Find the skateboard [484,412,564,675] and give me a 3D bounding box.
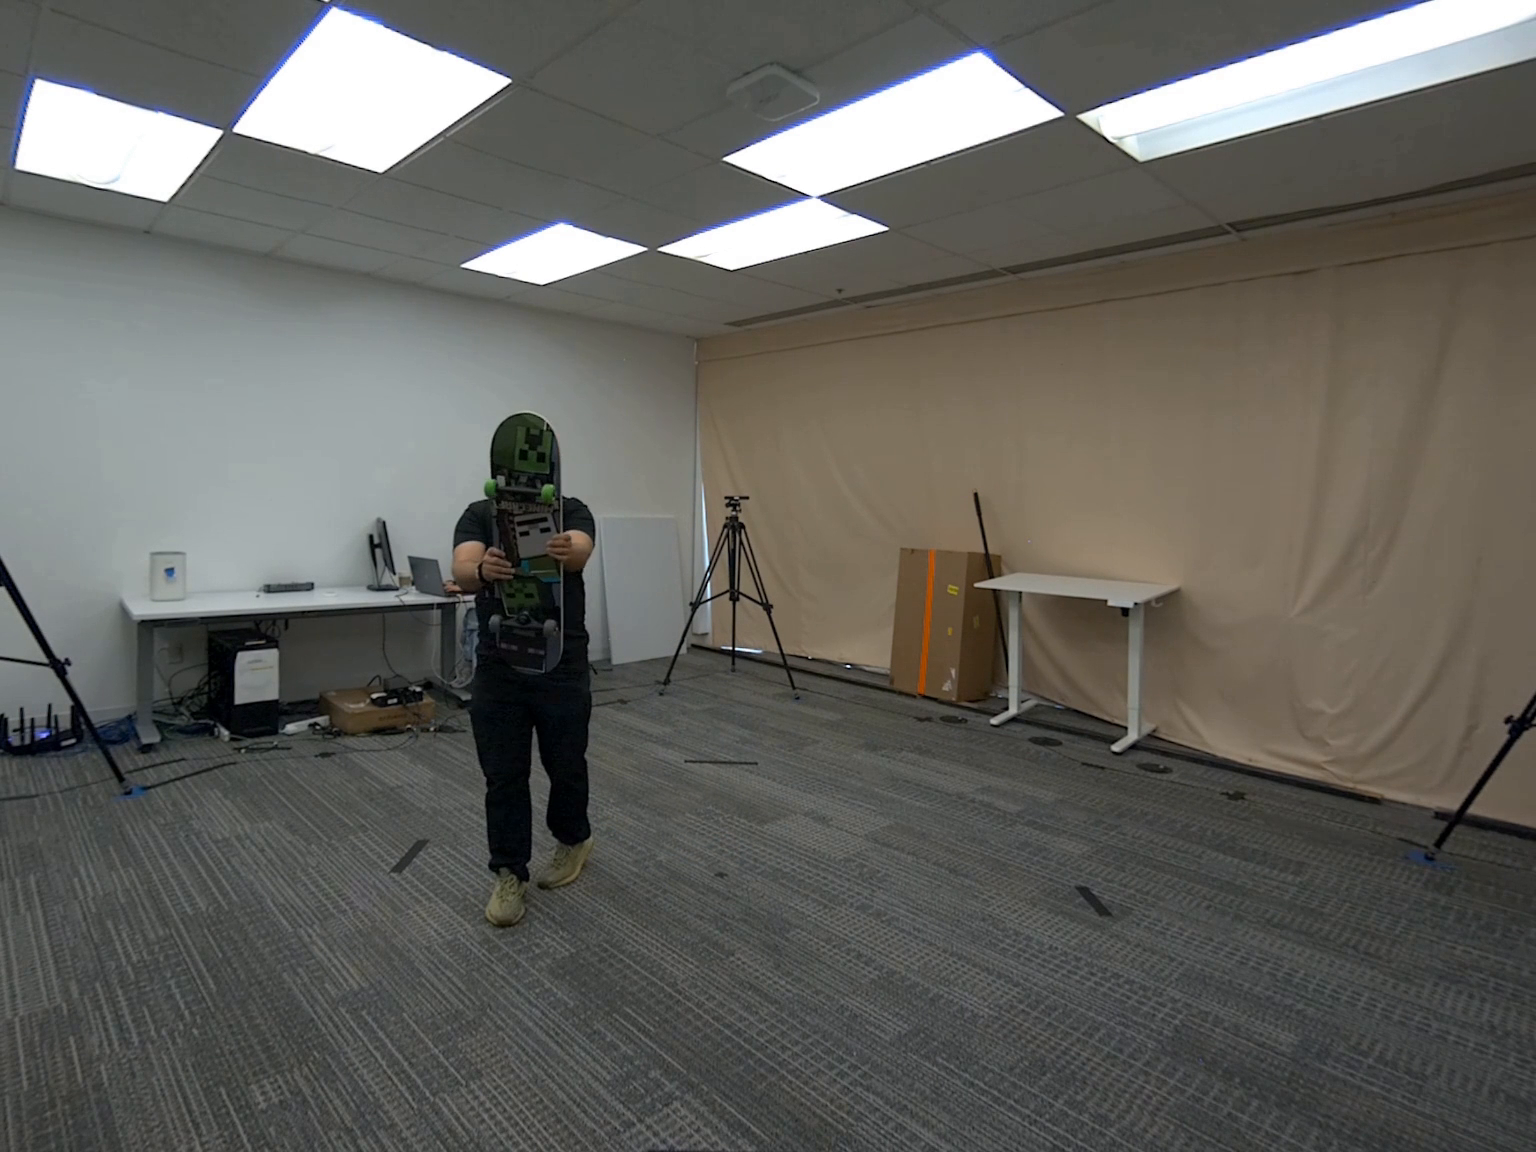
[{"bbox_3d":[-0.673,-0.048,2.333,0.194,0.774,0.111,7,22,6],"label":"skateboard"}]
